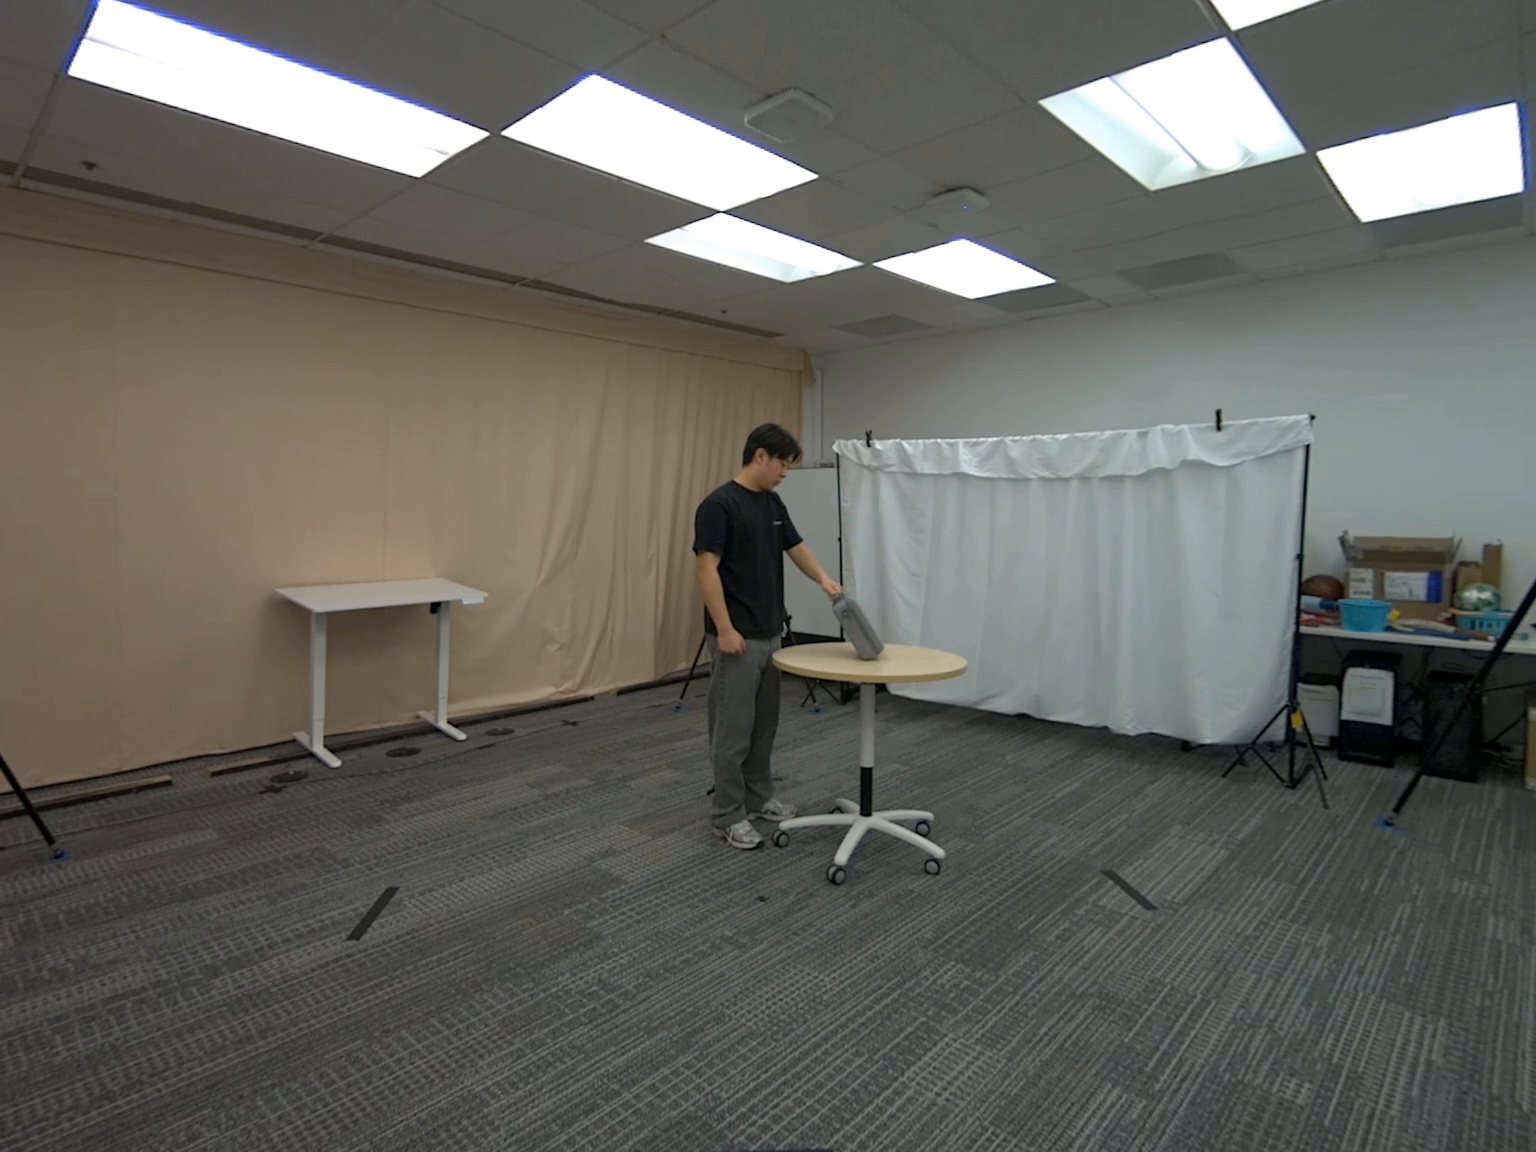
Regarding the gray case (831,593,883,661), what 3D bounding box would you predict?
[{"bbox_3d":[0.356,0.194,3.407,0.103,0.288,0.261,-31,-3,3],"label":"gray case"}]
